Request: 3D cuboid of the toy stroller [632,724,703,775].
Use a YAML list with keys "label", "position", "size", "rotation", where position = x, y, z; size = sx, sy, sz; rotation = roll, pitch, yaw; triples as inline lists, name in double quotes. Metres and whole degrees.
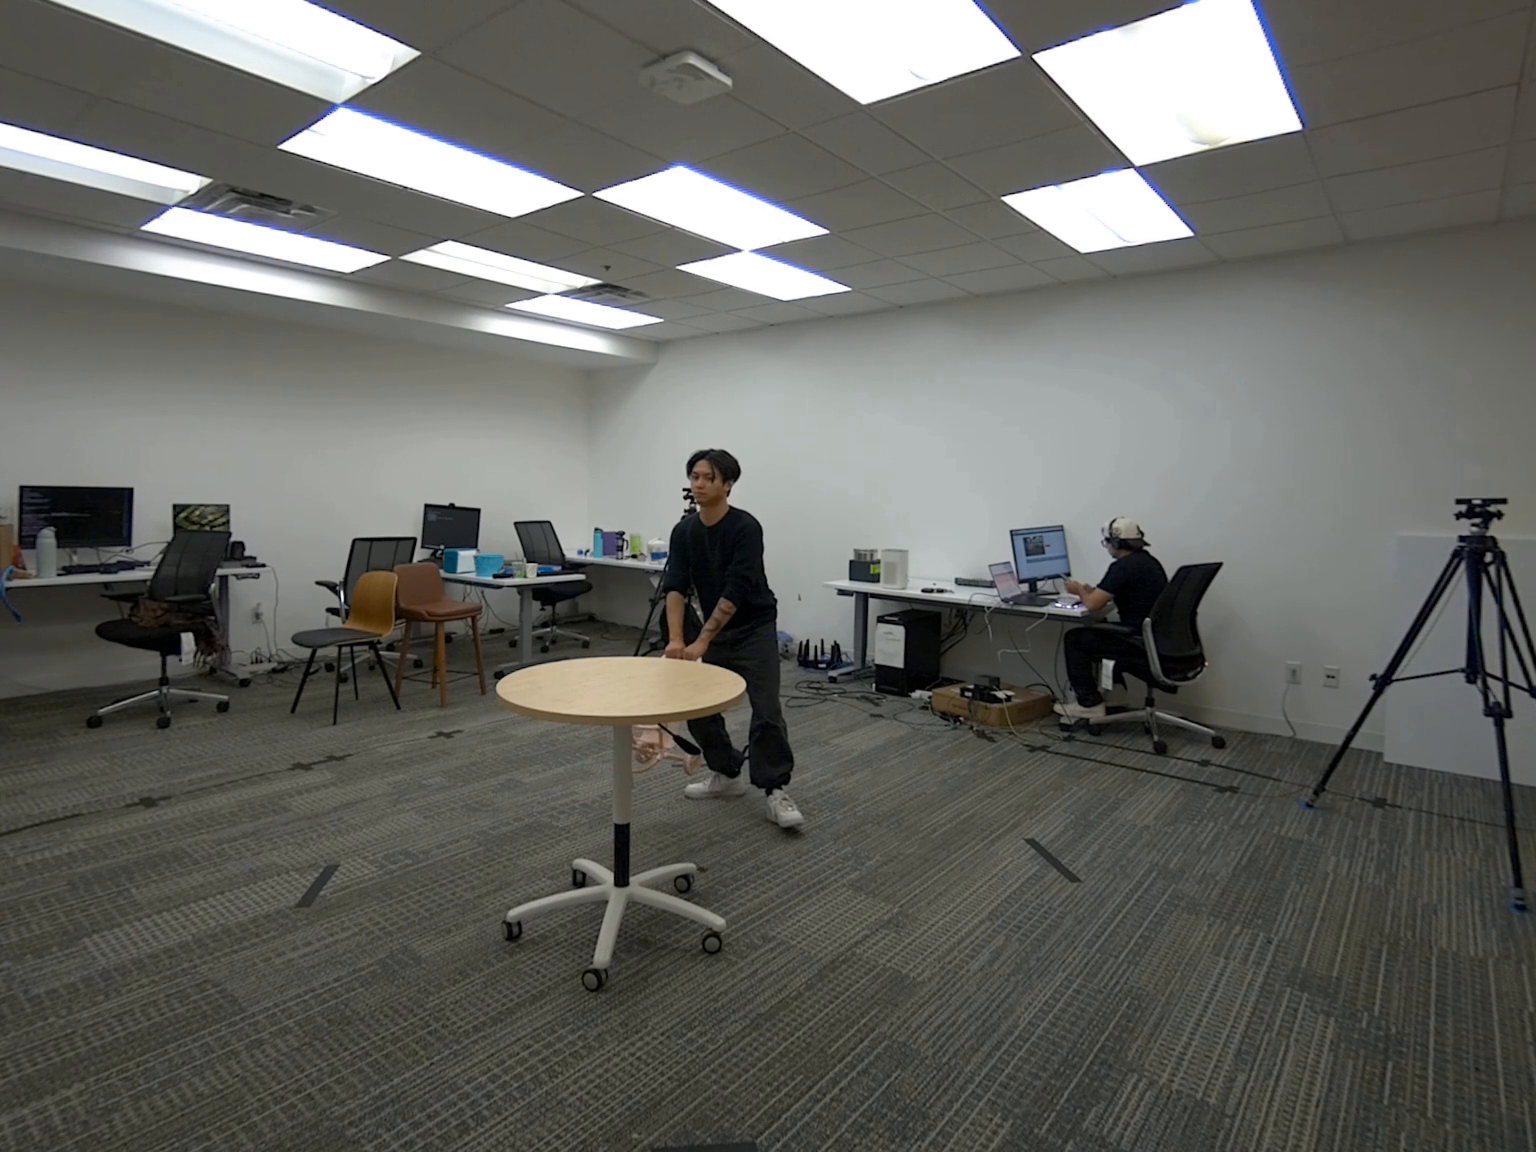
- label: "toy stroller"
  position: [-0.462, 0.573, 3.394]
  size: [0.291, 0.536, 0.329]
  rotation: [4, -3, 39]
